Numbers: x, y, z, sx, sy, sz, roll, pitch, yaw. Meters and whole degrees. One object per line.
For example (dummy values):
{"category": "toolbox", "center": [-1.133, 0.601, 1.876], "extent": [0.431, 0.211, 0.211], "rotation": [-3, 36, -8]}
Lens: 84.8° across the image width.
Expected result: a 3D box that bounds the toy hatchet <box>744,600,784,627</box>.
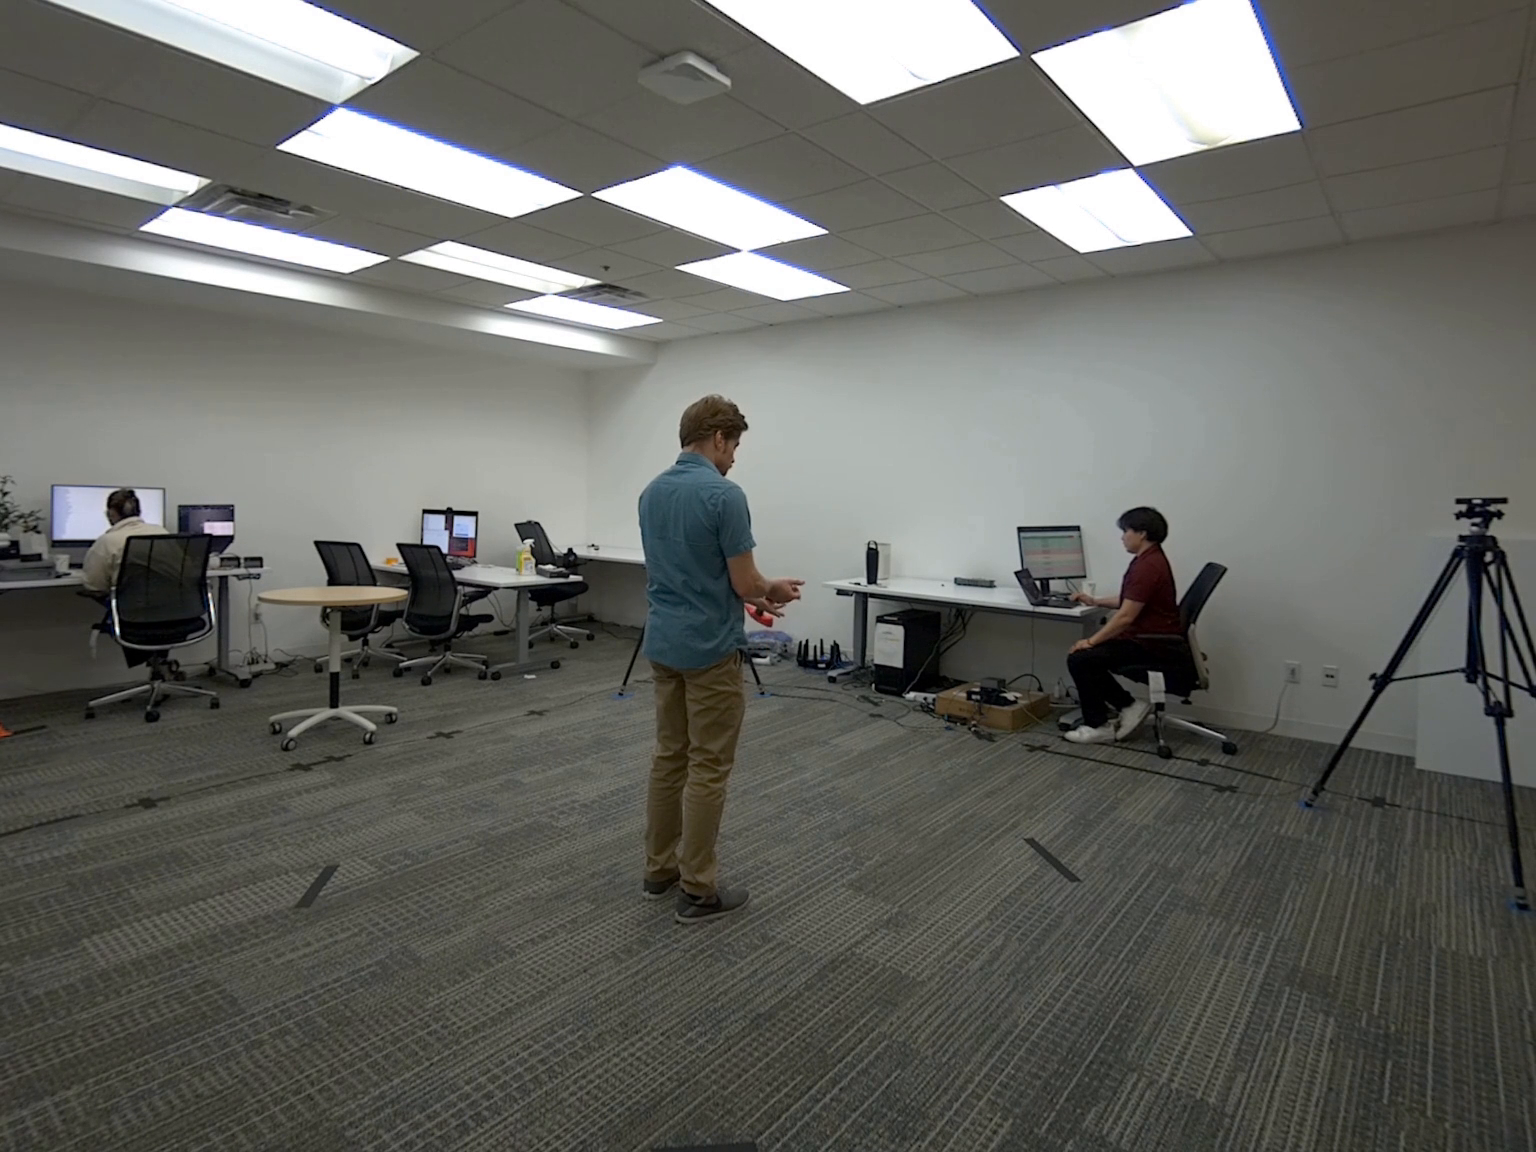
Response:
{"category": "toy hatchet", "center": [0.006, 0.131, 3.140], "extent": [0.029, 0.129, 0.274], "rotation": [-45, 12, -28]}
